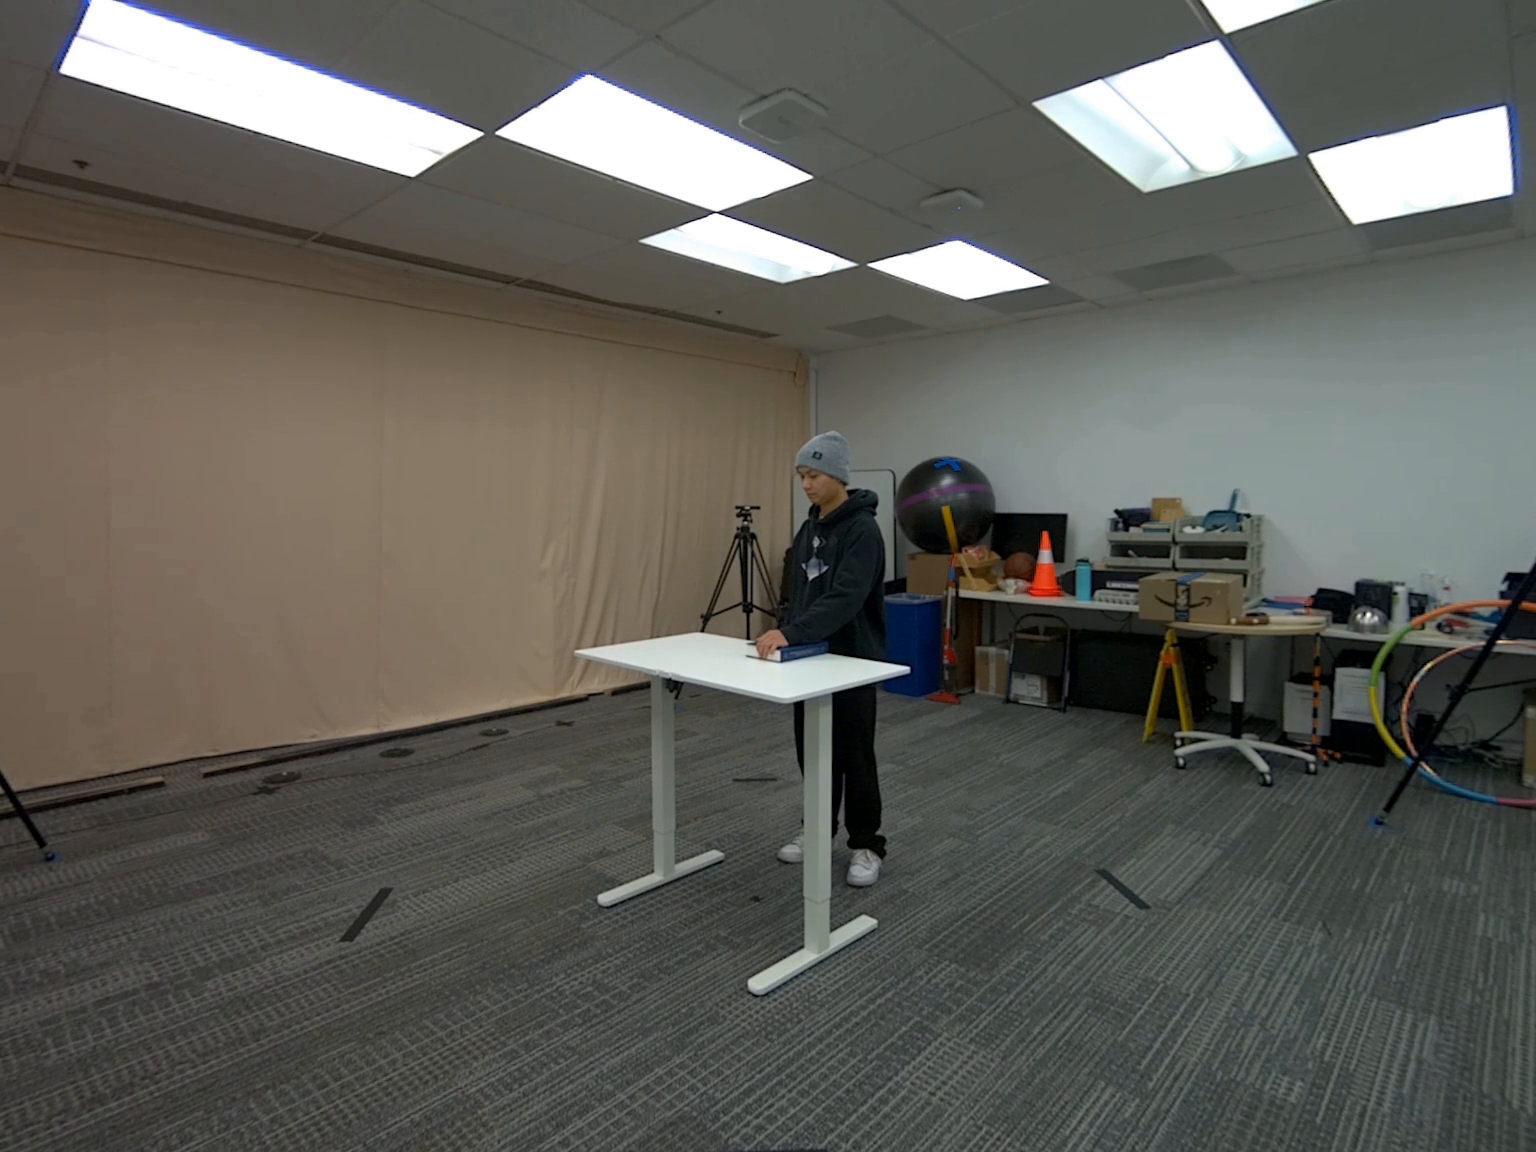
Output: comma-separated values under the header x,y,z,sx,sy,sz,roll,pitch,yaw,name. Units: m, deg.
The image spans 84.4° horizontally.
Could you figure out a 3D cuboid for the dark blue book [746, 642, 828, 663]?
x,y,z,sx,sy,sz,roll,pitch,yaw,name
0.071,0.252,2.879,0.238,0.045,0.169,-5,8,-42,dark blue book
